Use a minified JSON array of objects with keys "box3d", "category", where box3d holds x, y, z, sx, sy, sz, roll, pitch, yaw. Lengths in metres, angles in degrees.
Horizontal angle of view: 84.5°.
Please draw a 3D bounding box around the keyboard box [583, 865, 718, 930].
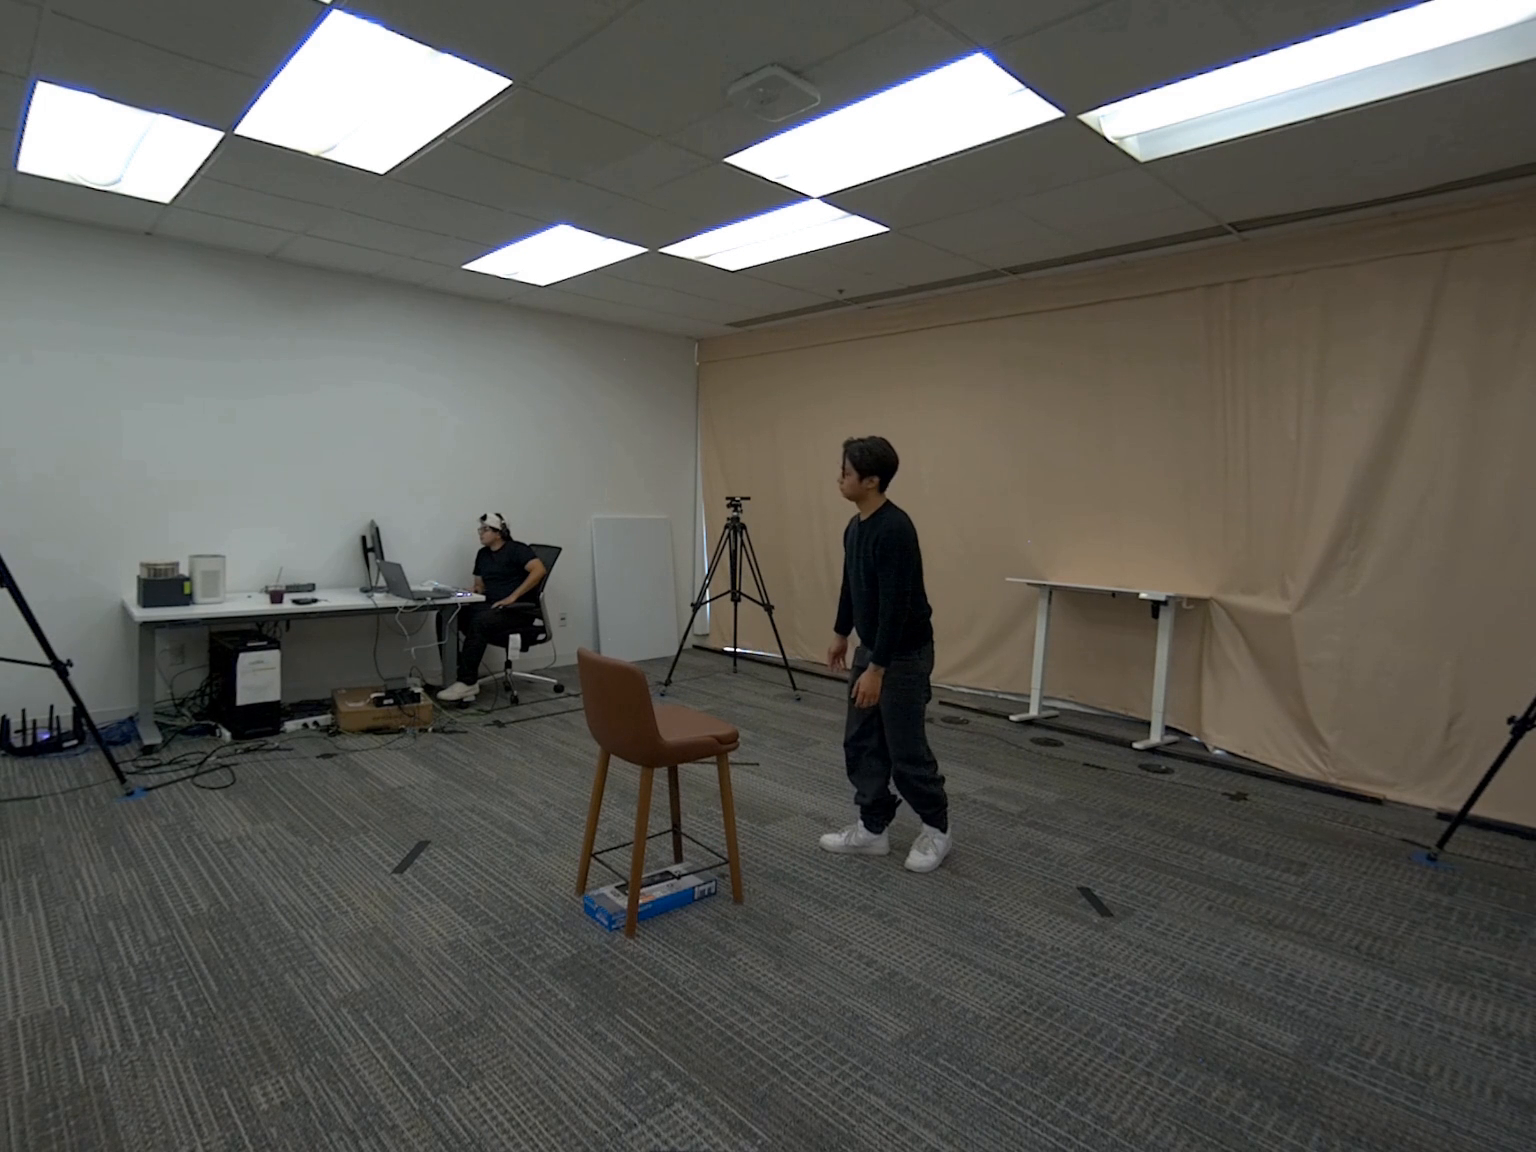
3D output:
[{"box3d":[-0.402,1.095,2.883,0.427,0.059,0.180,-3,7,-40],"category":"keyboard box"}]
